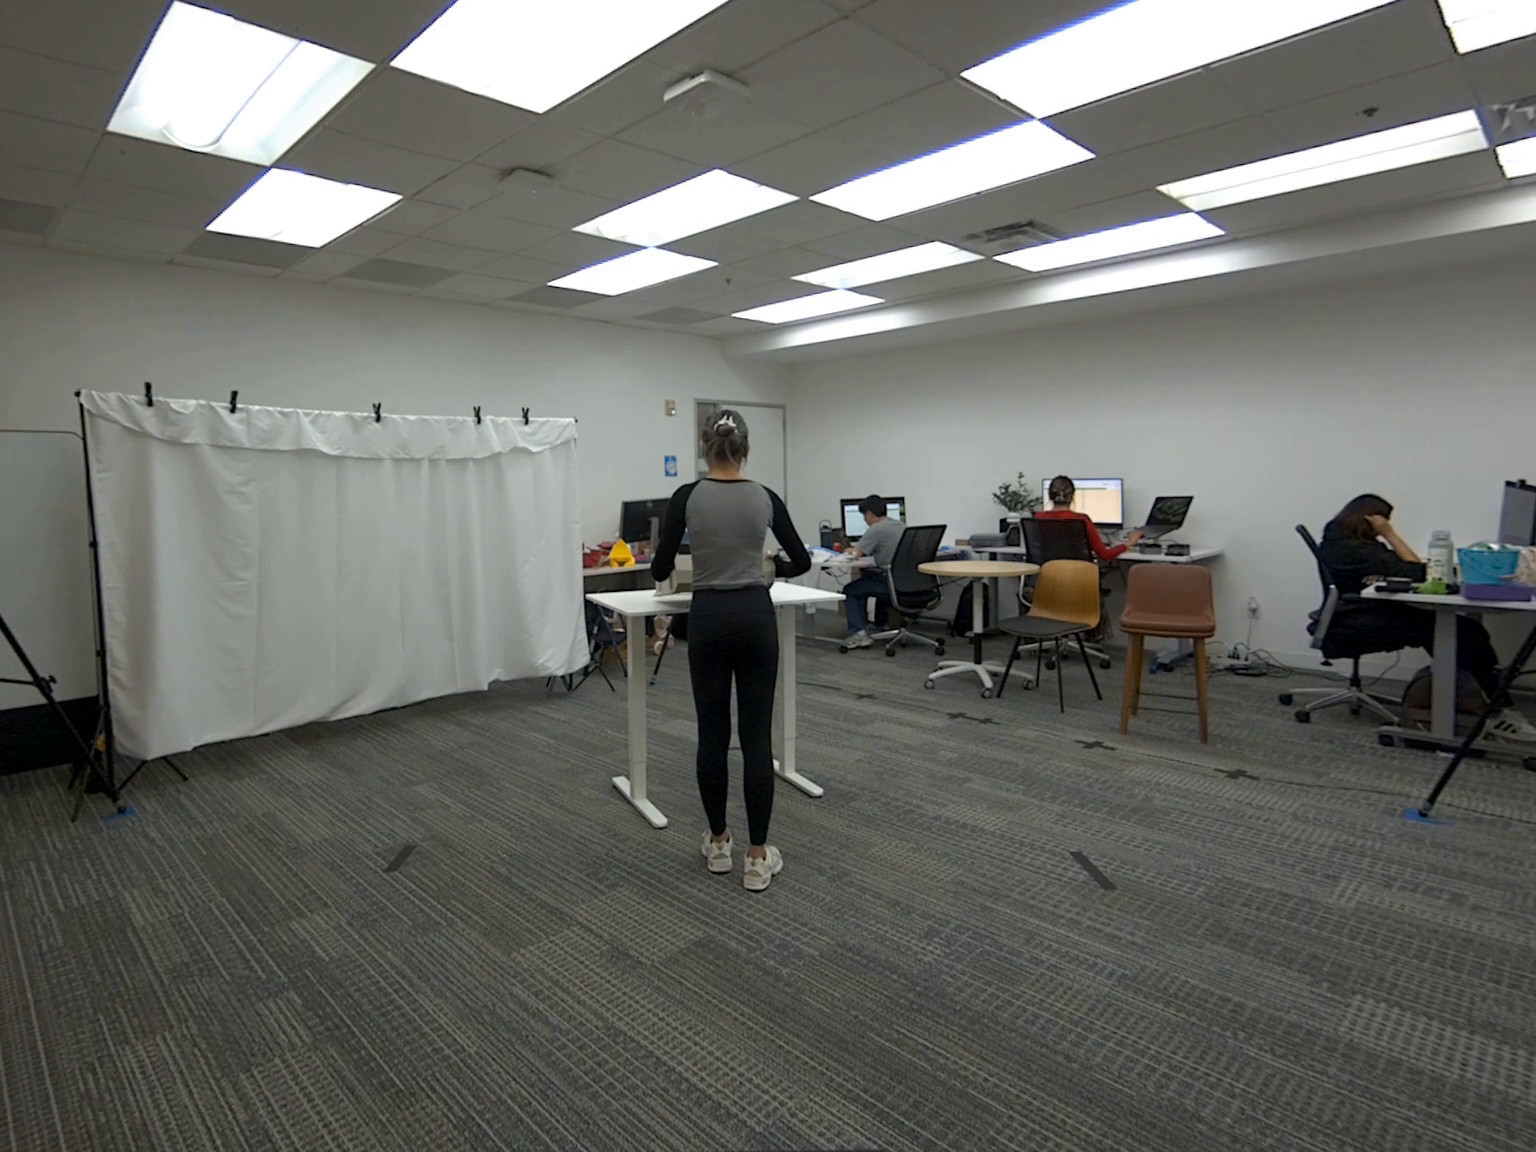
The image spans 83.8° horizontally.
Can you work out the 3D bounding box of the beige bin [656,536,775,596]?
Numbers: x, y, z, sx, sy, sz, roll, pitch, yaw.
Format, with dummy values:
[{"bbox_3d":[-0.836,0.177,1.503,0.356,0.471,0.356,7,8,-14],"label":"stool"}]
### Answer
[{"bbox_3d":[-0.227,-0.013,3.532,0.414,0.190,0.382,-1,-5,-21],"label":"beige bin"}]
